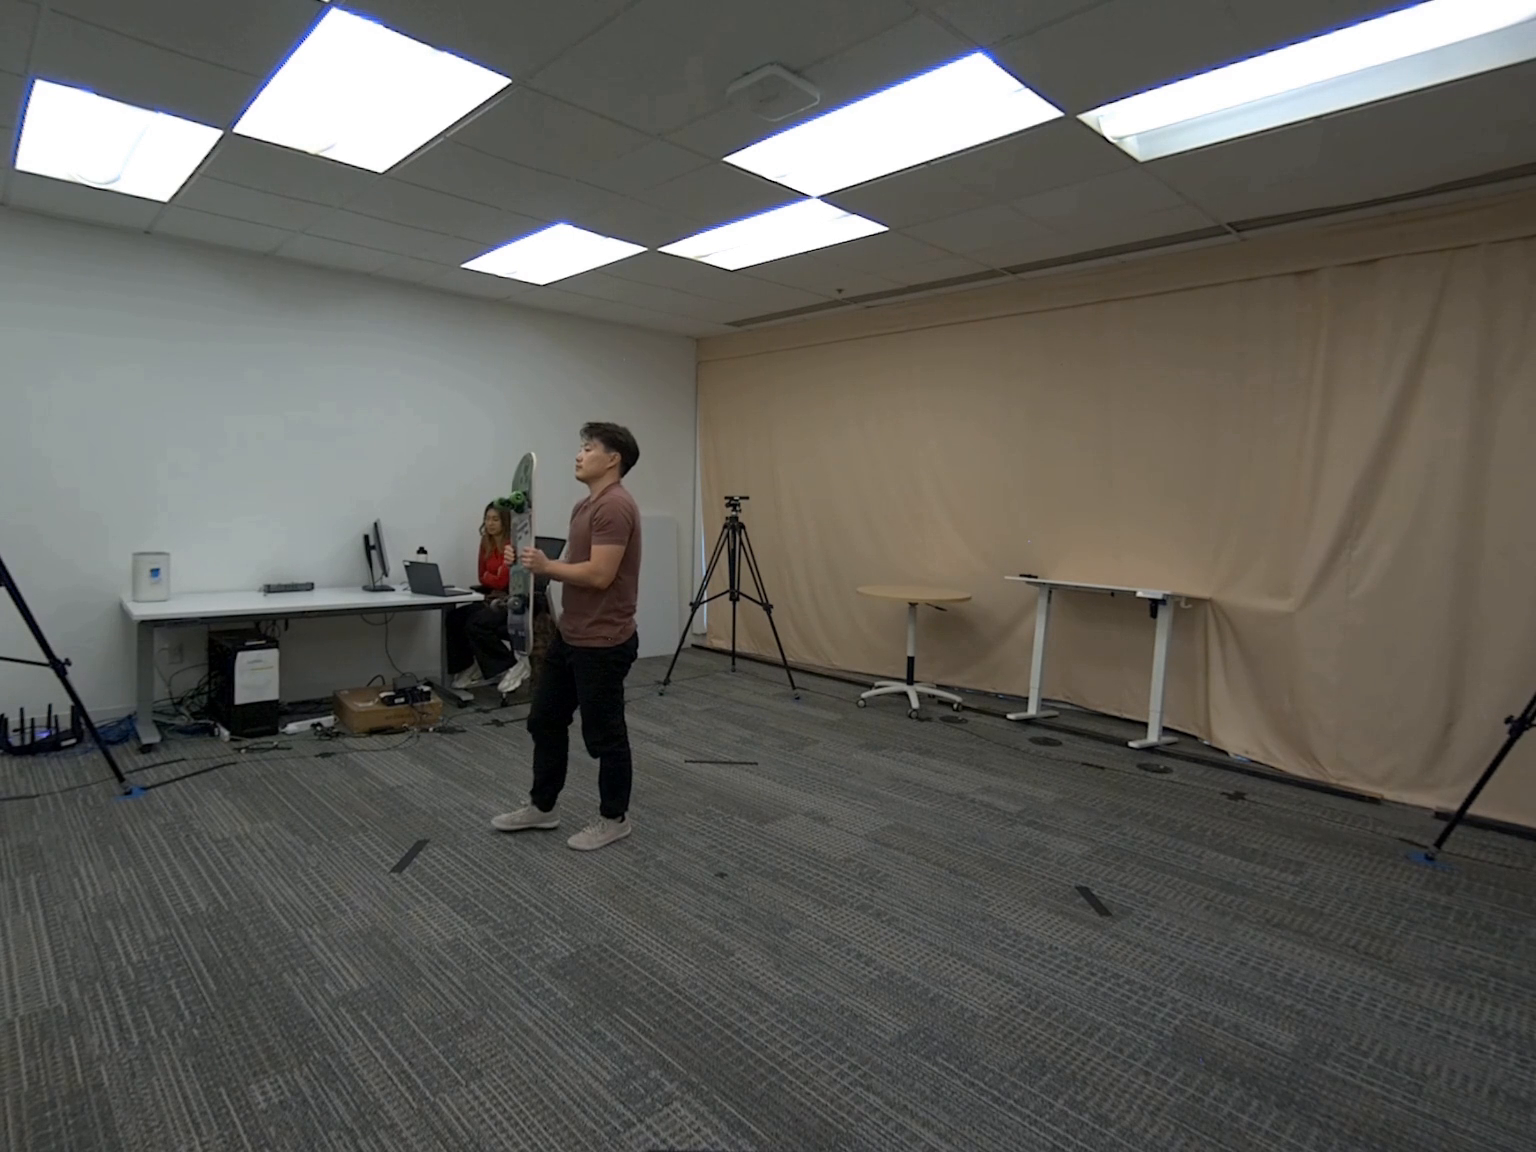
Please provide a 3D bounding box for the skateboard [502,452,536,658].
[{"bbox_3d":[-0.968,-0.085,3.209,0.107,0.789,0.197,5,-9,-40],"label":"skateboard"}]
